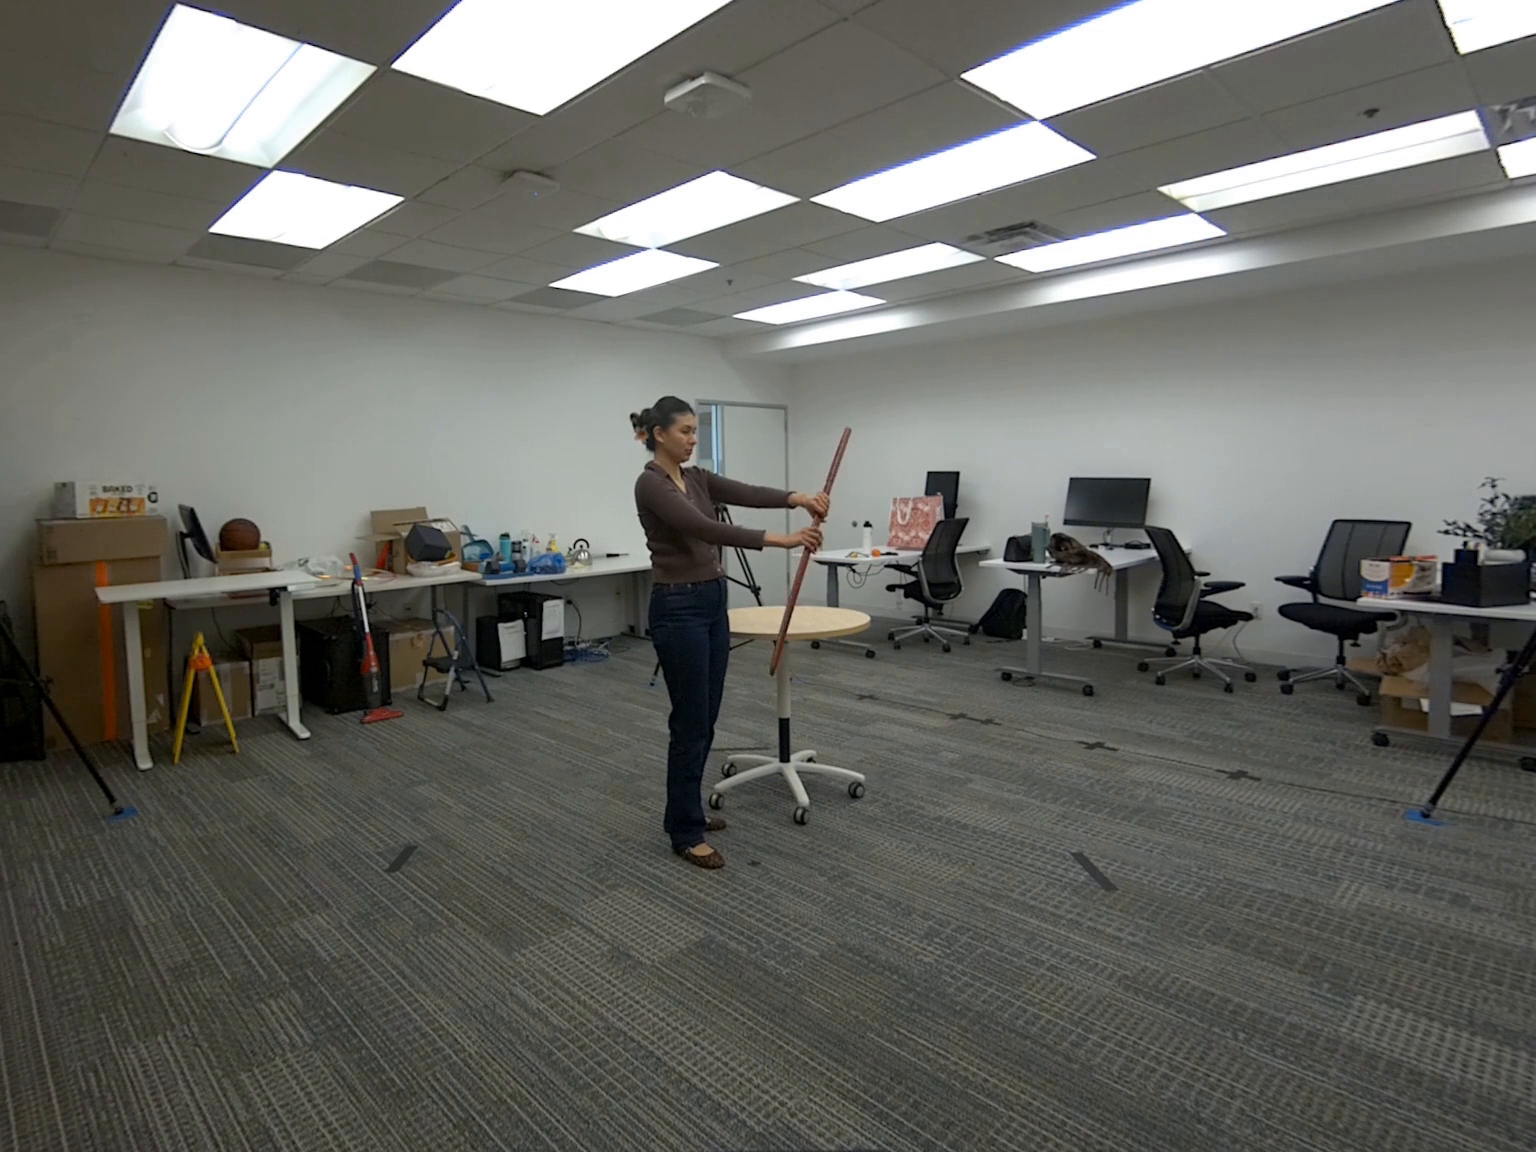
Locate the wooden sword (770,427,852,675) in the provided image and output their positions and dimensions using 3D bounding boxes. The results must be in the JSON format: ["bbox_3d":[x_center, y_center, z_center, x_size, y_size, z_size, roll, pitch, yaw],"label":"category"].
[{"bbox_3d":[0.157,-0.126,2.957,0.024,1.038,0.051,24,-30,-6],"label":"wooden sword"}]
